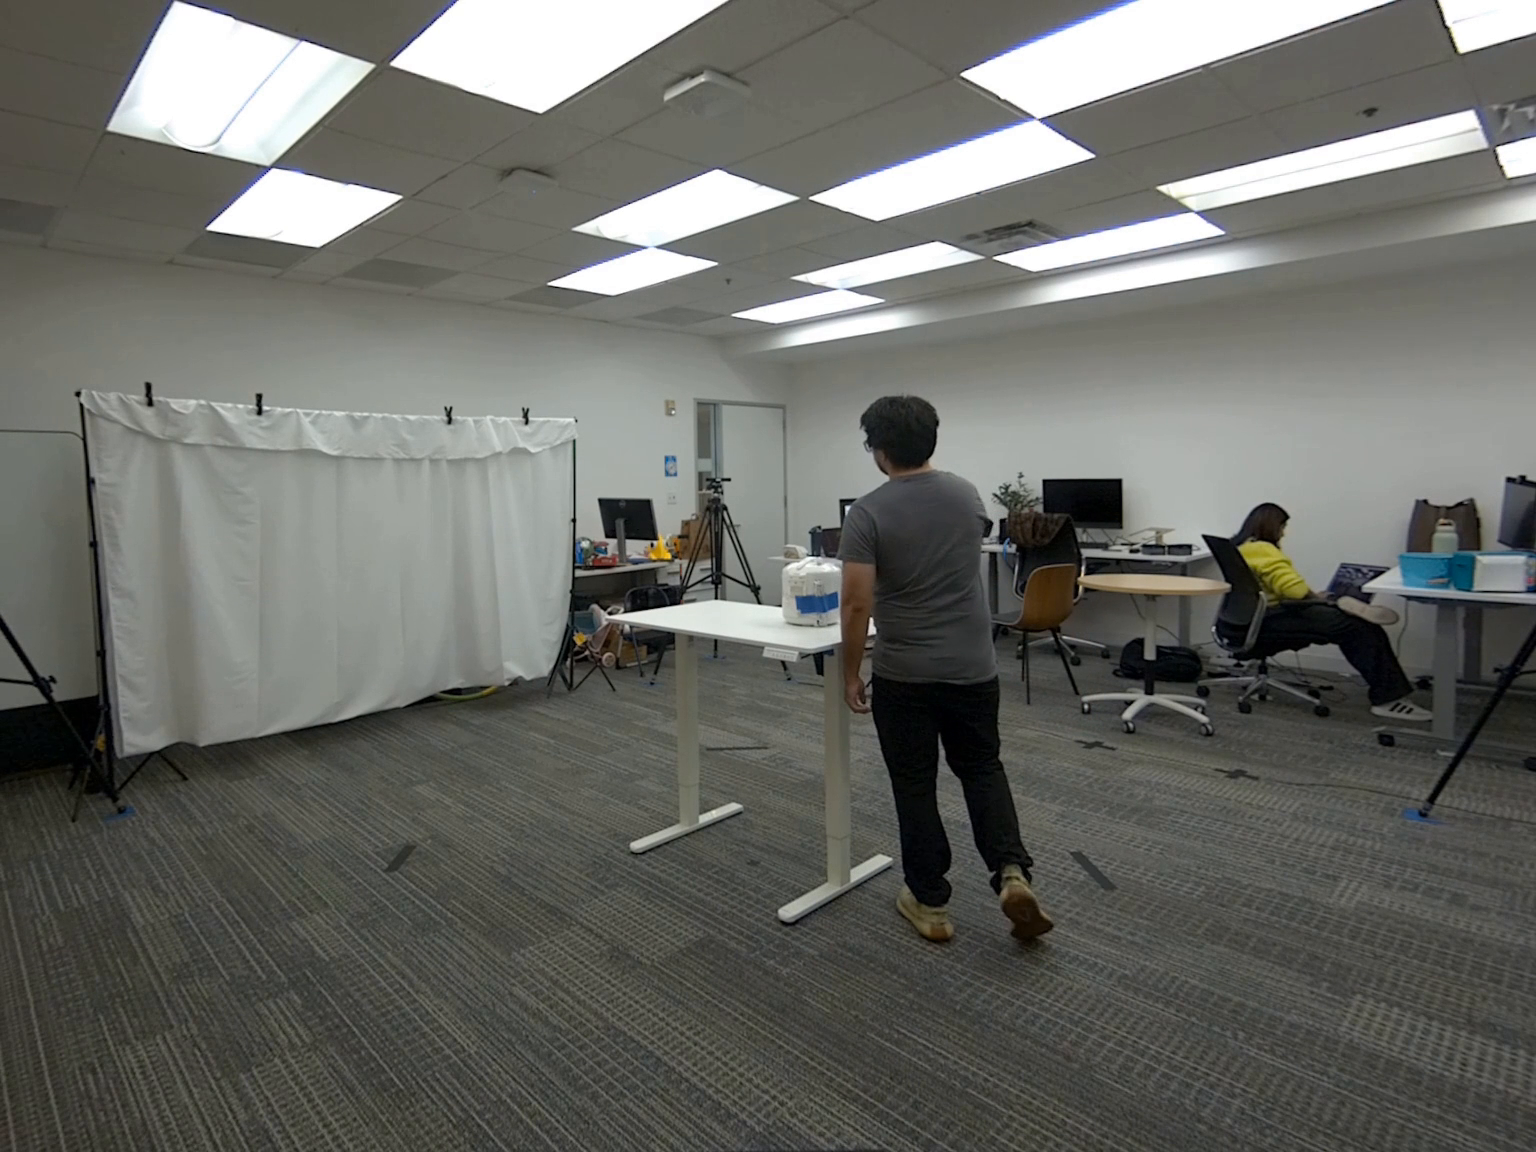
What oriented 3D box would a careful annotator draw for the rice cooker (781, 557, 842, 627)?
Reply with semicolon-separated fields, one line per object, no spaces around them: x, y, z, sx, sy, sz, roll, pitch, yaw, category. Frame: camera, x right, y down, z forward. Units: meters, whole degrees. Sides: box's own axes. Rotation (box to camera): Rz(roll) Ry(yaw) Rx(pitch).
0.156;0.050;3.001;0.224;0.232;0.215;3;6;34;rice cooker
